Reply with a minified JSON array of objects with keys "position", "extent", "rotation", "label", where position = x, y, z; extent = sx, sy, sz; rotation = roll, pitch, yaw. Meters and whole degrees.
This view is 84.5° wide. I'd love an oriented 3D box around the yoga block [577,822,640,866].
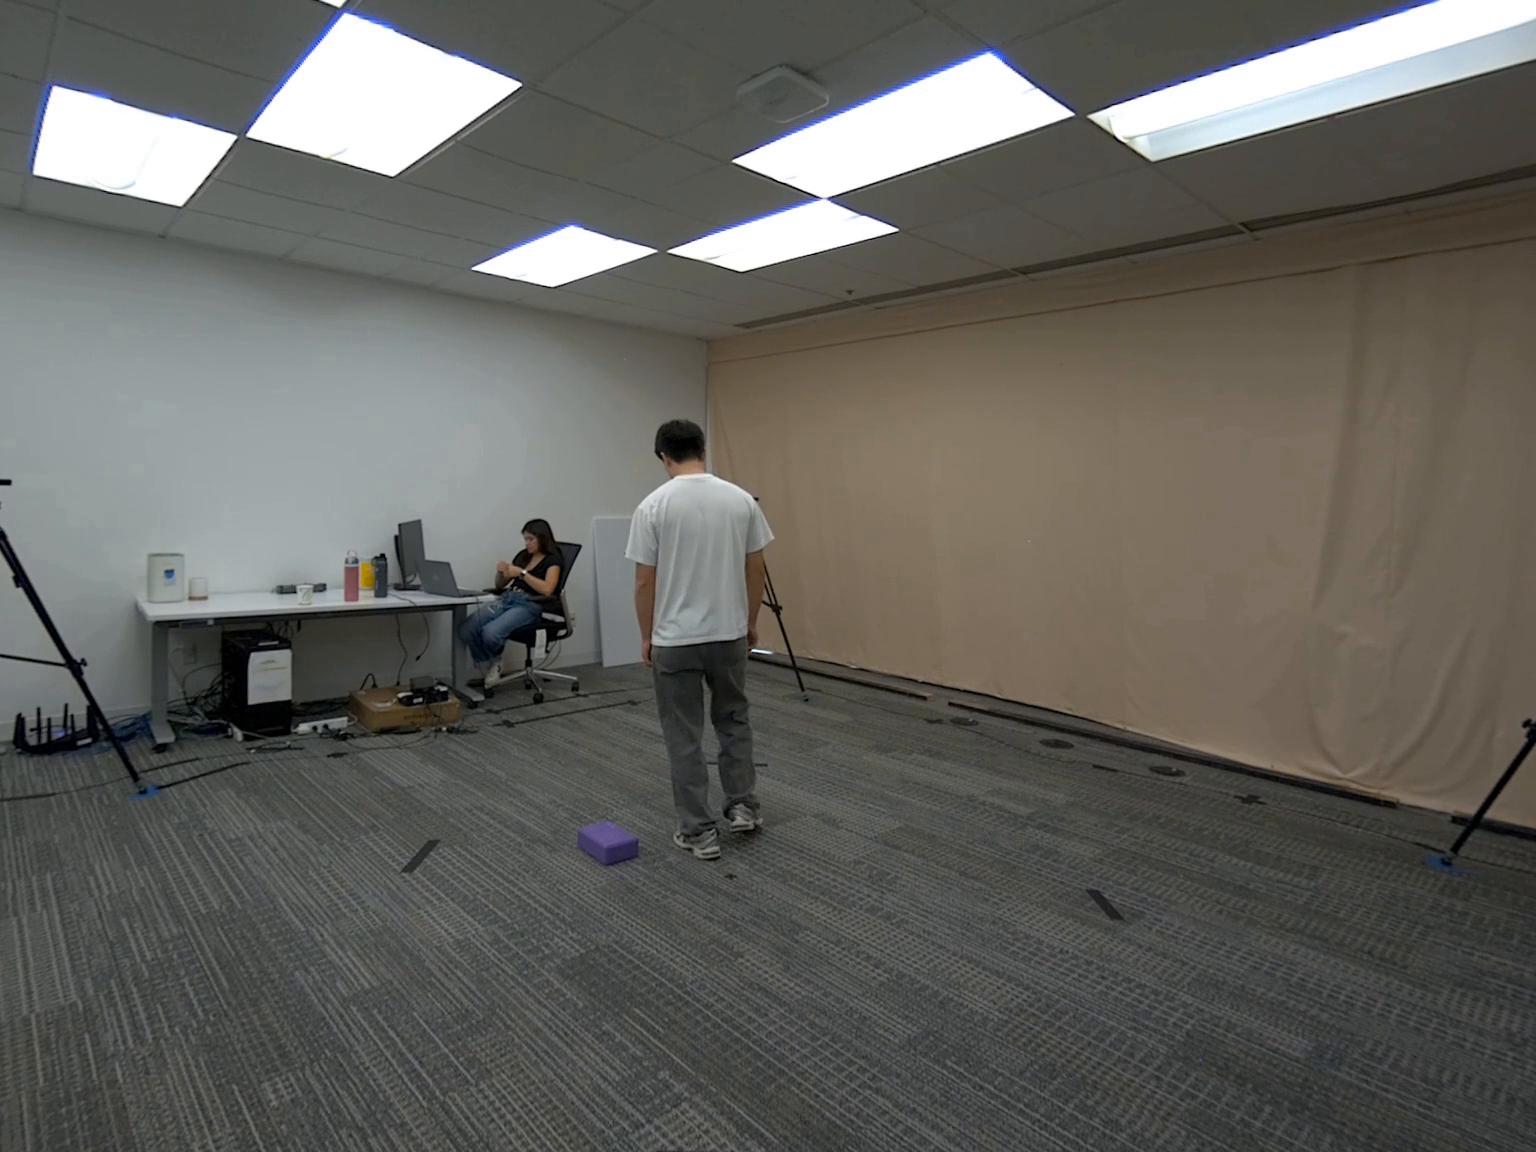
[{"position":[-0.634,1.042,3.284],"extent":[0.145,0.076,0.235],"rotation":[-3,6,-41],"label":"yoga block"}]
